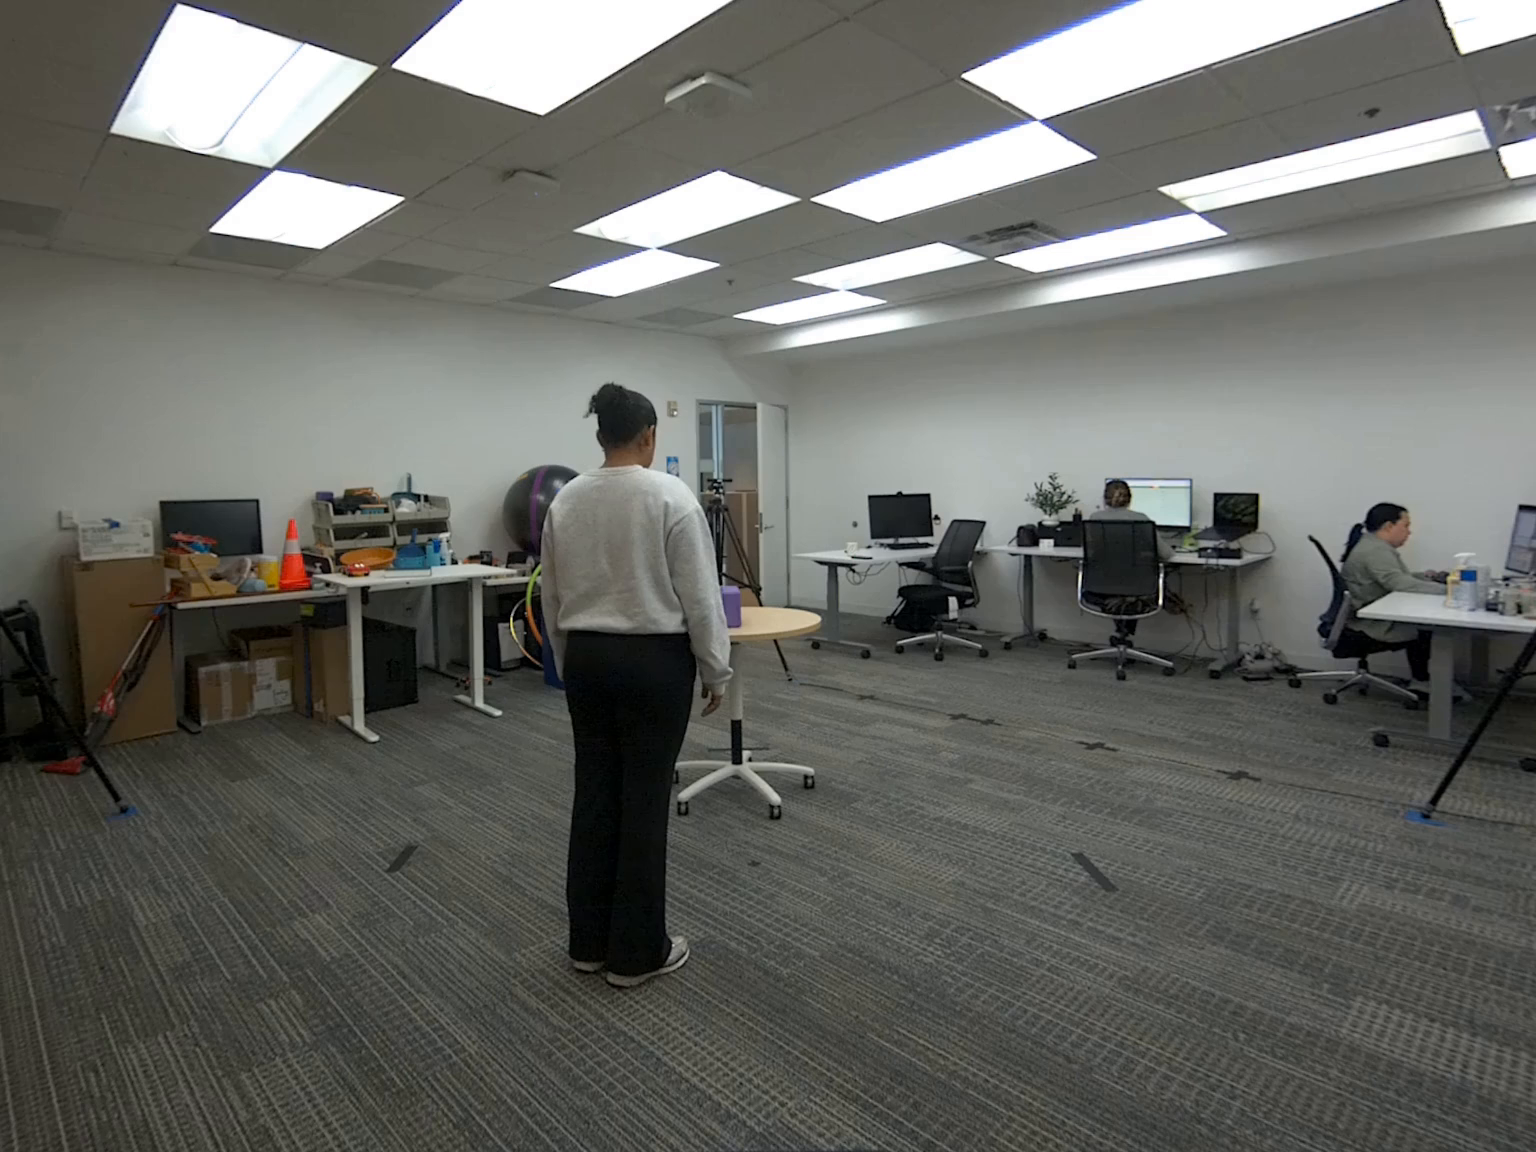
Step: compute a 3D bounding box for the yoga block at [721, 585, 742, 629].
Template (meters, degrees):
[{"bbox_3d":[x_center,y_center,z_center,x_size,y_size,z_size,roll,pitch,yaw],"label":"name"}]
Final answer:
[{"bbox_3d":[-0.160,0.133,3.652,0.076,0.148,0.231,-2,8,-1],"label":"yoga block"}]
